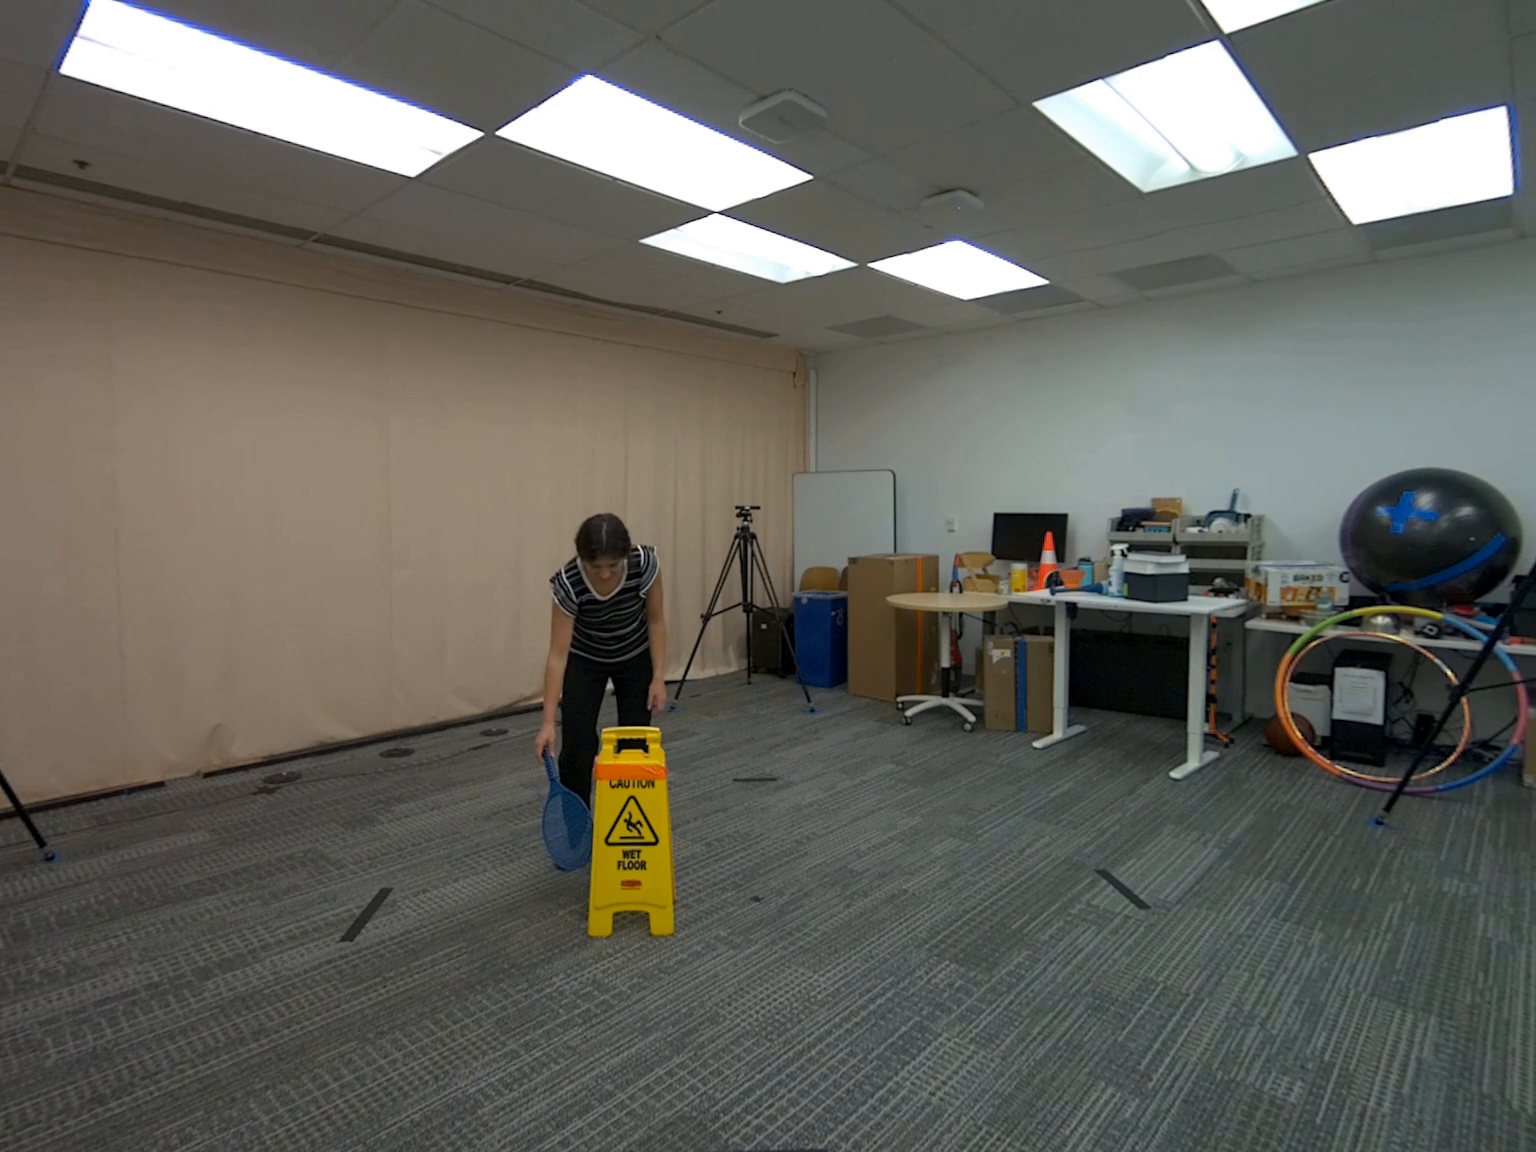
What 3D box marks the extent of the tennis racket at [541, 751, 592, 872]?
[{"bbox_3d":[-0.719,0.805,2.941,0.216,0.441,0.031,-28,-21,20],"label":"tennis racket"}]
